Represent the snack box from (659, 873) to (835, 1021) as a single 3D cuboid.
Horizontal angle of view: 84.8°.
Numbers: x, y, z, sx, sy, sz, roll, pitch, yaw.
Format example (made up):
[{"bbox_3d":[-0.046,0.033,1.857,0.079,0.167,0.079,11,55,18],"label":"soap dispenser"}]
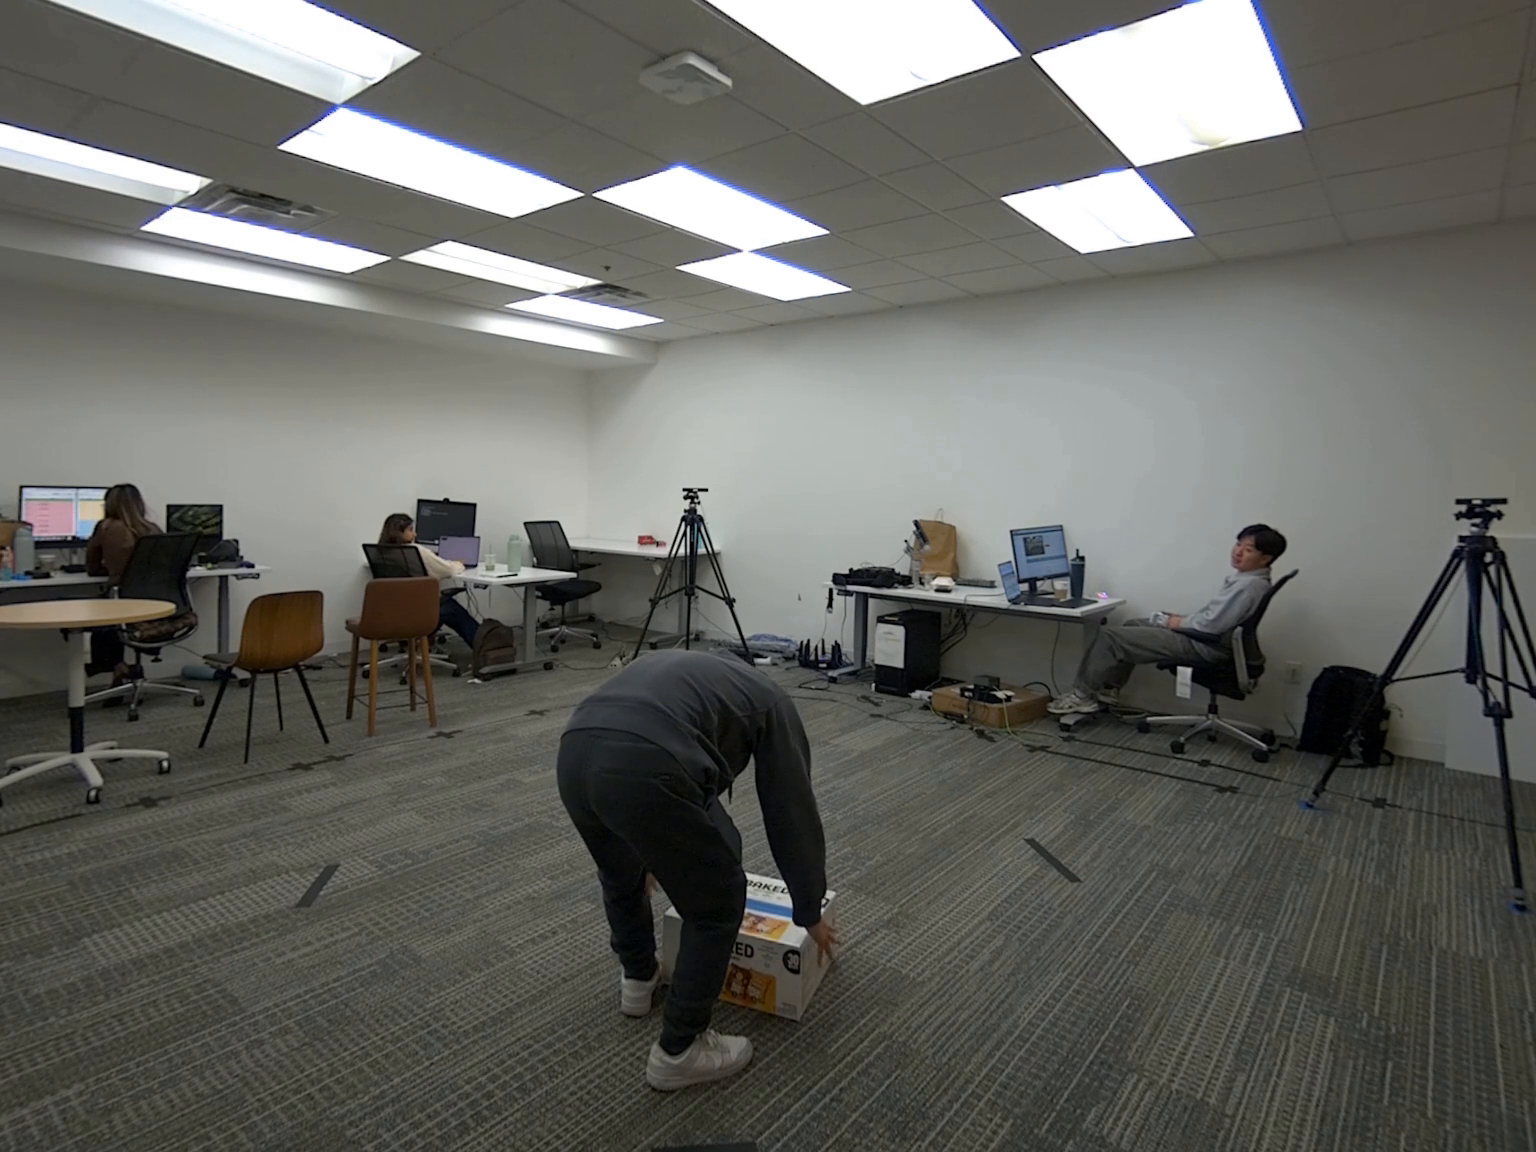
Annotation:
[{"bbox_3d":[-0.053,1.034,2.445,0.415,0.205,0.334,3,6,22],"label":"snack box"}]
